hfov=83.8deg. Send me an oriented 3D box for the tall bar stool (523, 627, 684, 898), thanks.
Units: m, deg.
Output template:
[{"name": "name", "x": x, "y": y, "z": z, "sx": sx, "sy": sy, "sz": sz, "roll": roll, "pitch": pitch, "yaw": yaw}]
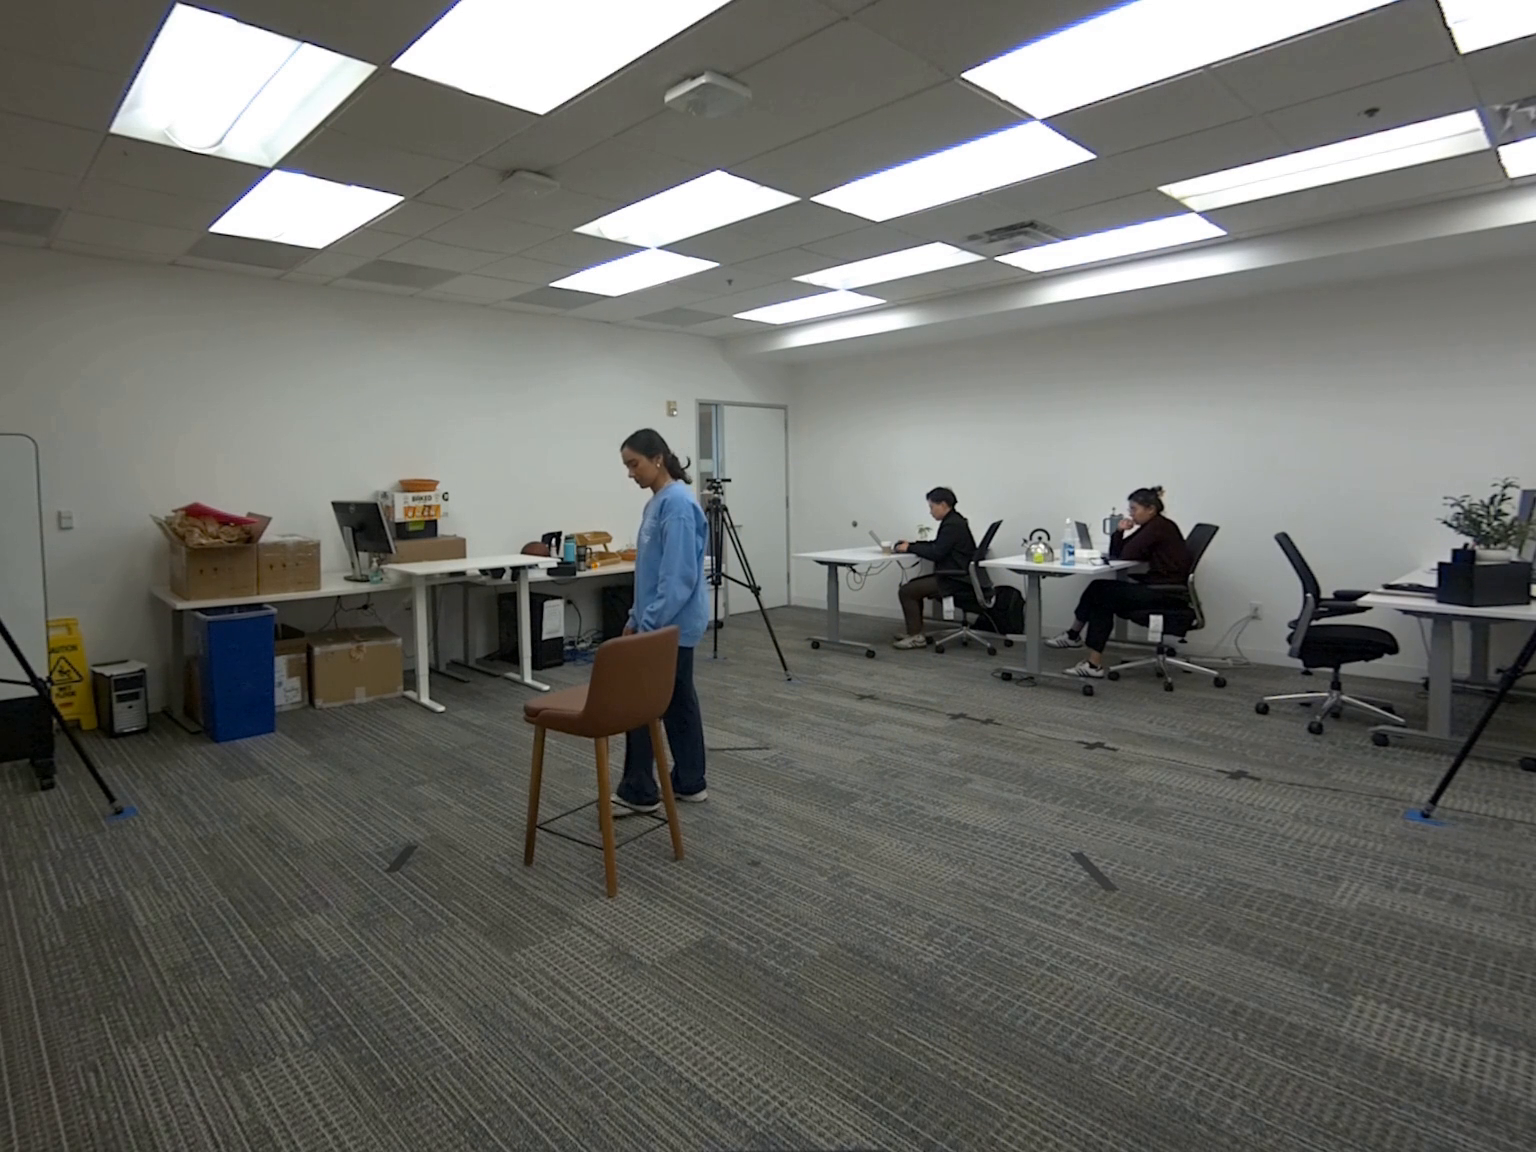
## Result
[{"name": "tall bar stool", "x": -0.611, "y": 0.622, "z": 3.121, "sx": 0.481, "sy": 0.885, "sz": 0.445, "roll": 4, "pitch": 7, "yaw": 37}]
